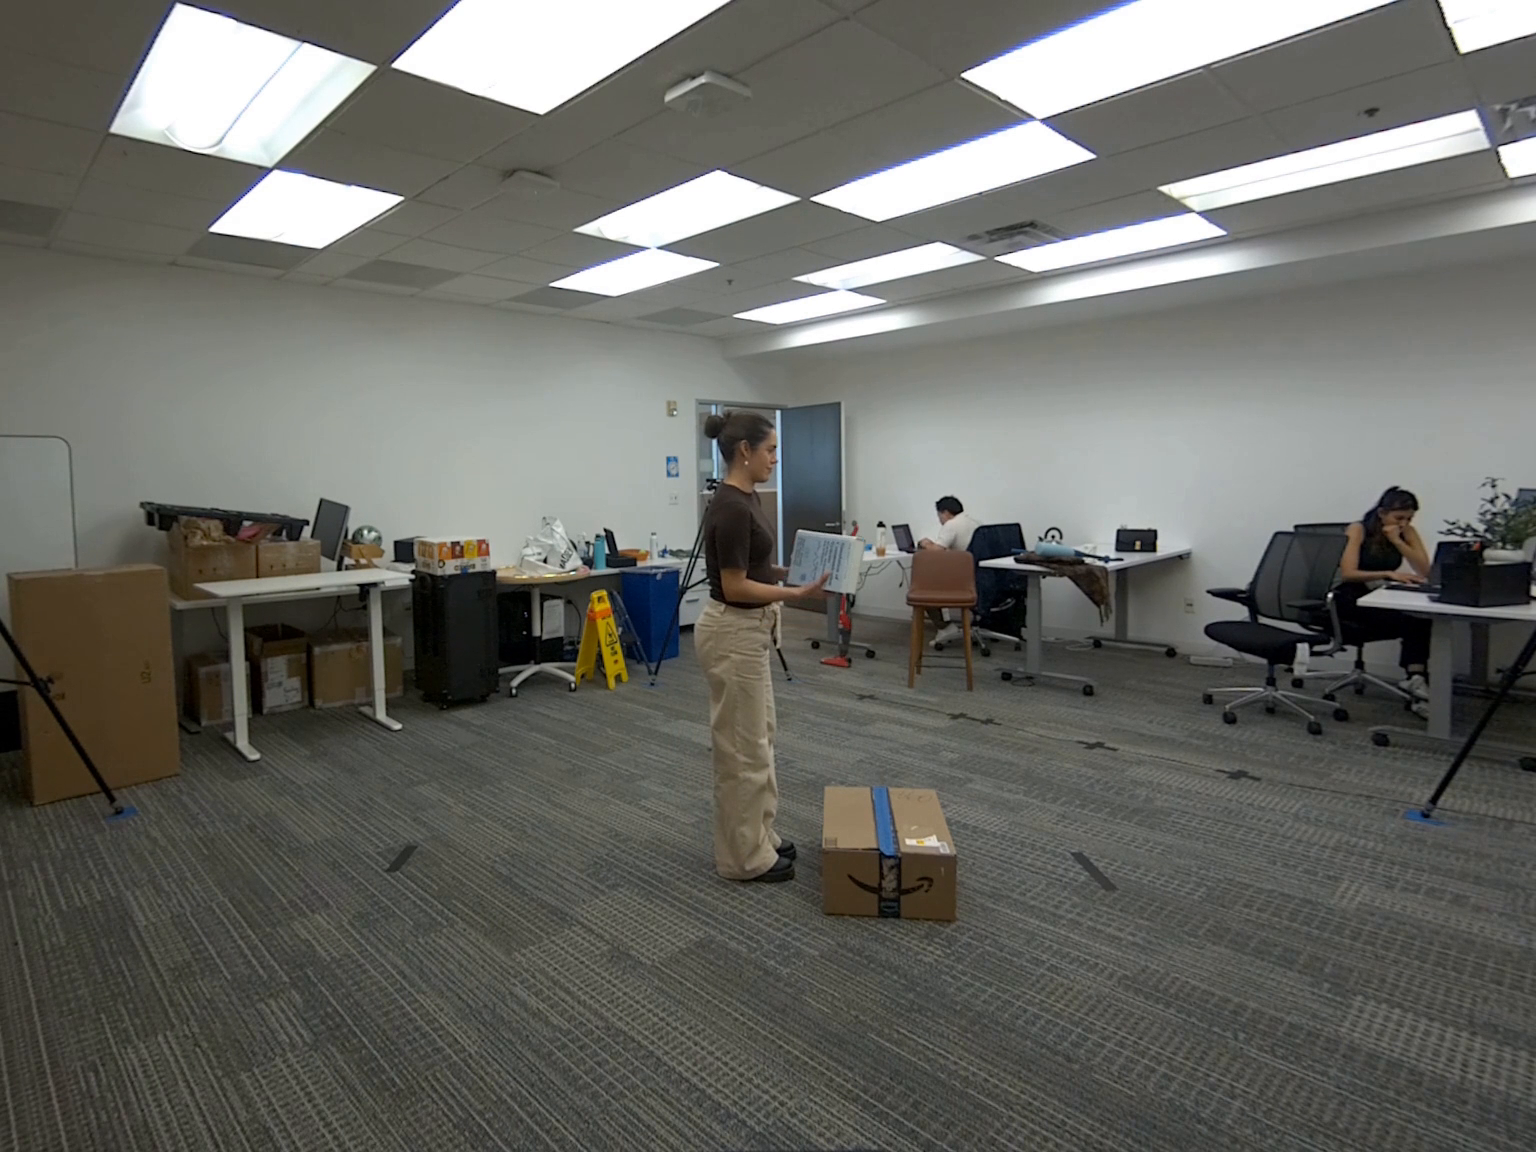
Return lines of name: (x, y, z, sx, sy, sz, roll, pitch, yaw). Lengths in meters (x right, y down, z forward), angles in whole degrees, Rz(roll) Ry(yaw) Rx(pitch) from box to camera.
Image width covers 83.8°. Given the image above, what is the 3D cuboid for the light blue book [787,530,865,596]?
light blue book: (0.195, -0.047, 2.879, 0.270, 0.192, 0.057, 10, -5, 46)
